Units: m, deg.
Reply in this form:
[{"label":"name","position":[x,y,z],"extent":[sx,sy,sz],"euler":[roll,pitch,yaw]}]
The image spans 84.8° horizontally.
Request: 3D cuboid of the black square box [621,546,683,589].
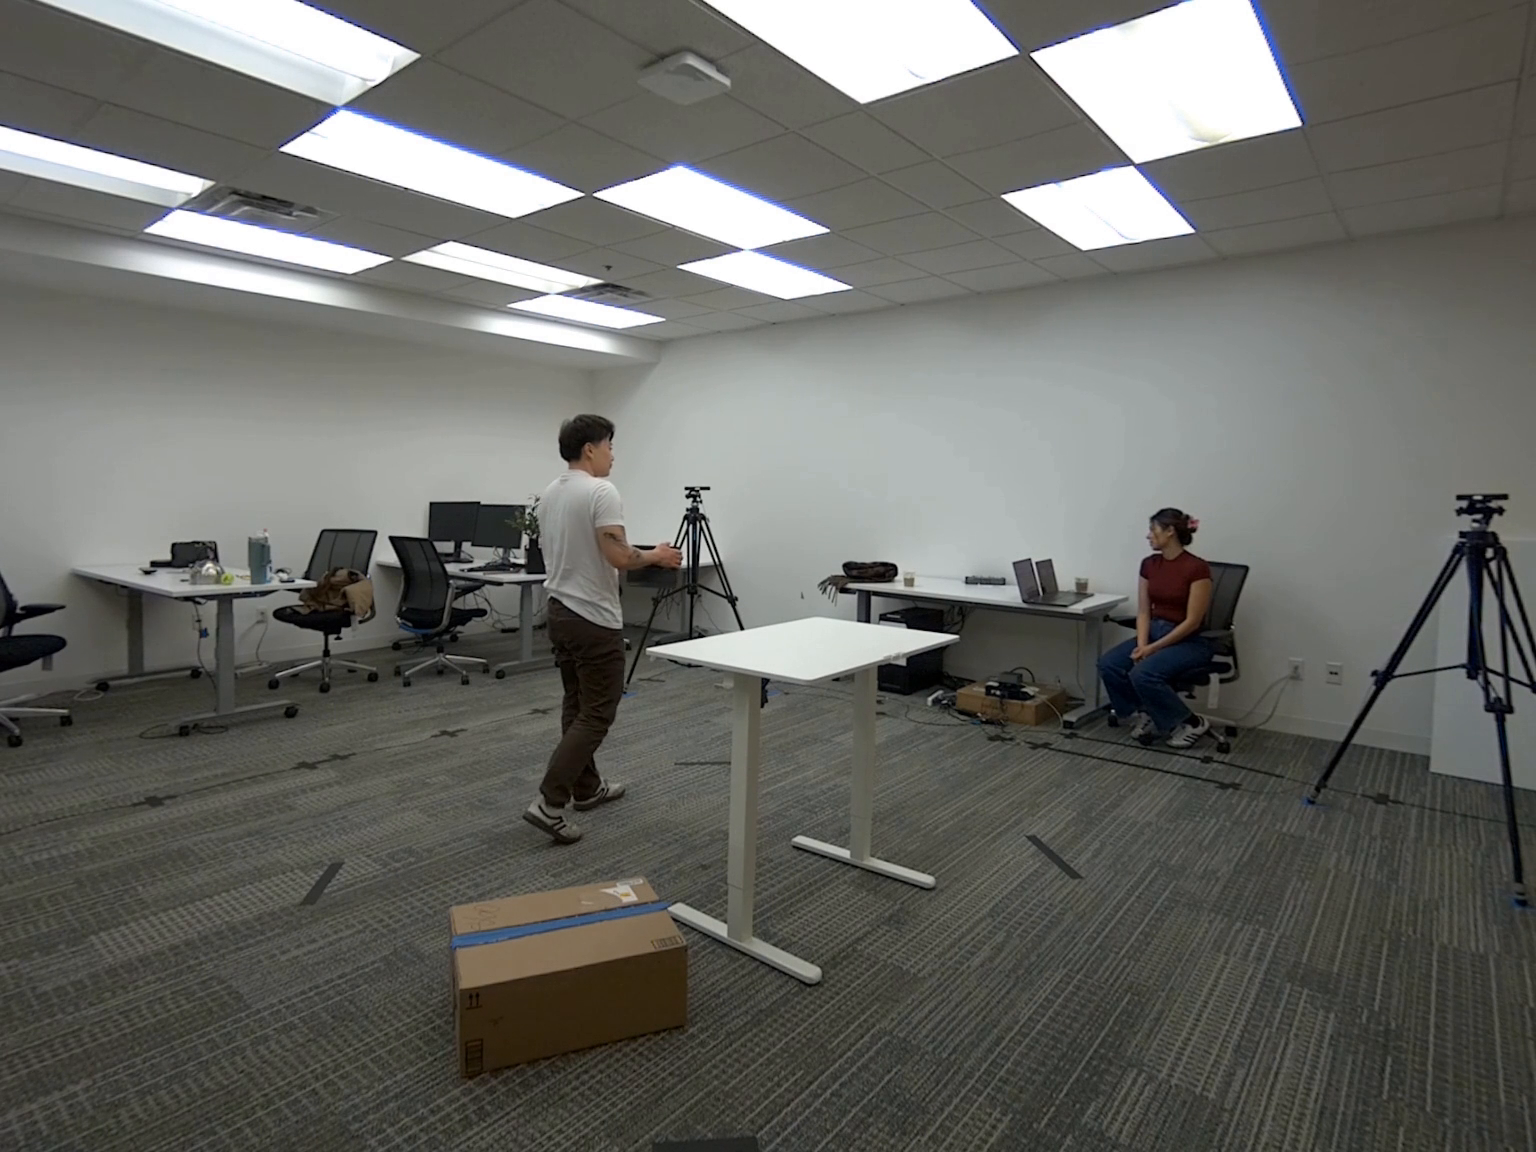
[{"label":"black square box","position":[-0.519,-0.031,3.699],"extent":[0.217,0.157,0.227],"euler":[2,-4,-1]}]
